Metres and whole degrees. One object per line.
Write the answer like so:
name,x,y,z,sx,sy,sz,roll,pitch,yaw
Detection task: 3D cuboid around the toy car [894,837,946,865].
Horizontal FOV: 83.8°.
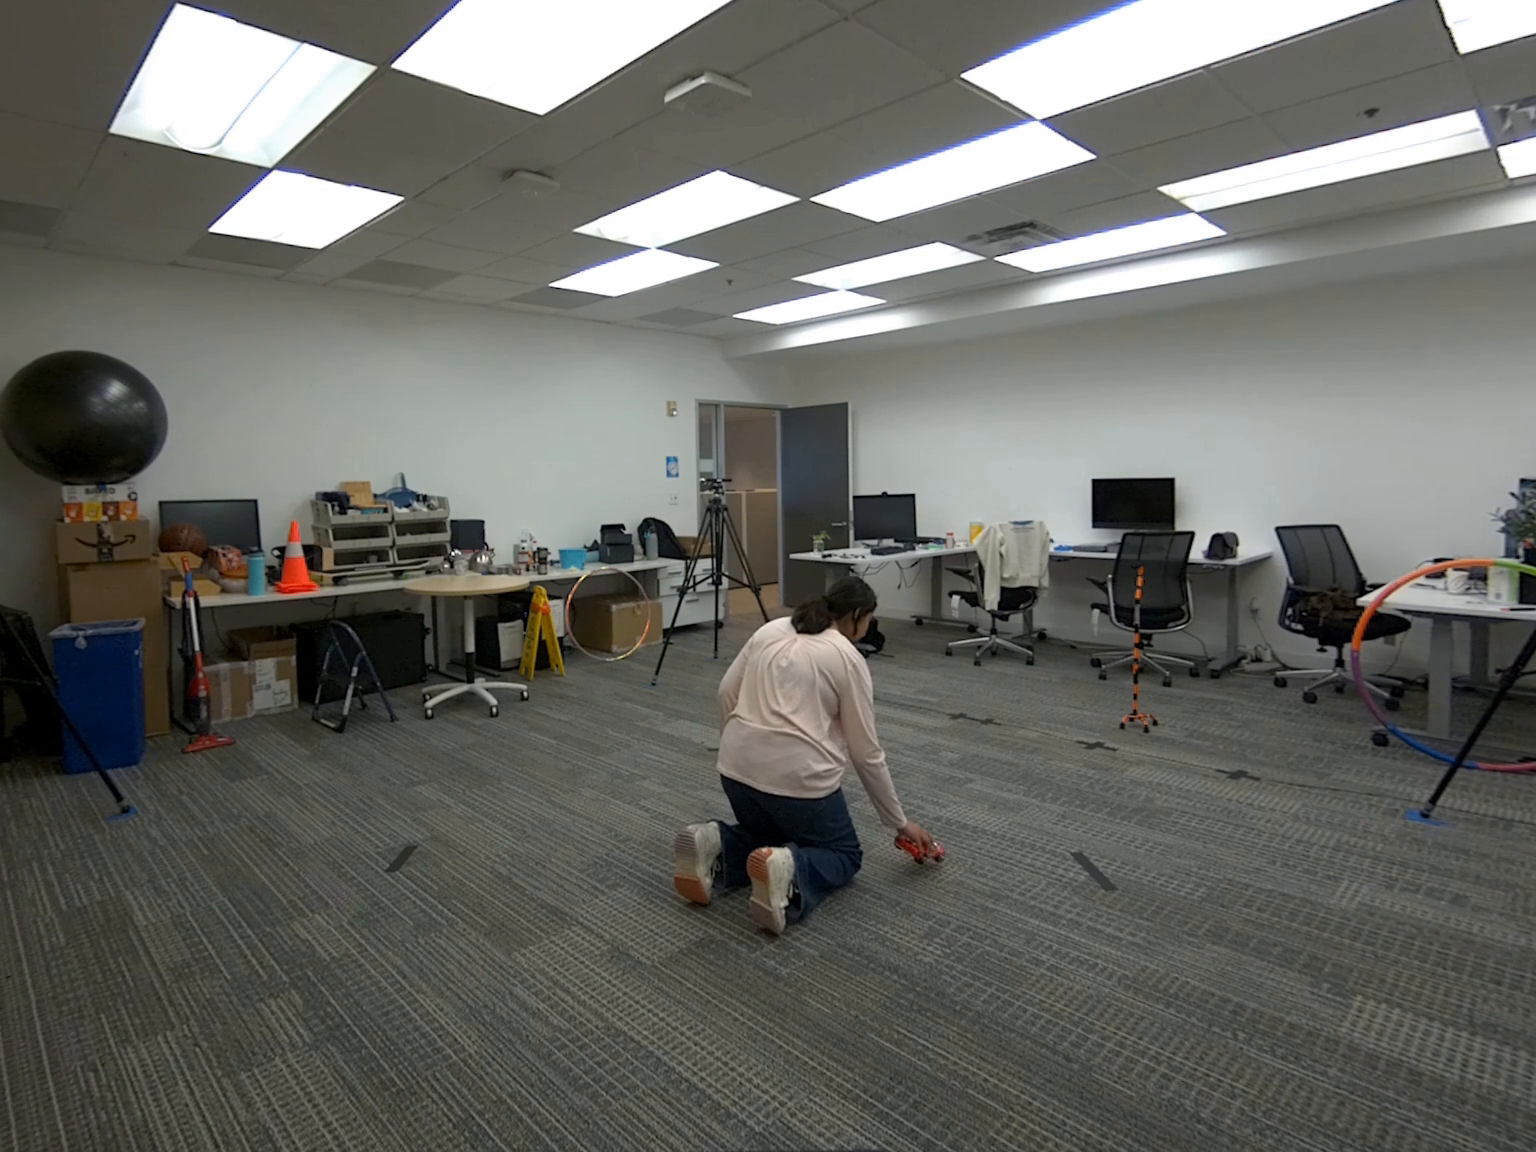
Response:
toy car,0.521,0.944,2.996,0.135,0.083,0.245,31,-4,41
